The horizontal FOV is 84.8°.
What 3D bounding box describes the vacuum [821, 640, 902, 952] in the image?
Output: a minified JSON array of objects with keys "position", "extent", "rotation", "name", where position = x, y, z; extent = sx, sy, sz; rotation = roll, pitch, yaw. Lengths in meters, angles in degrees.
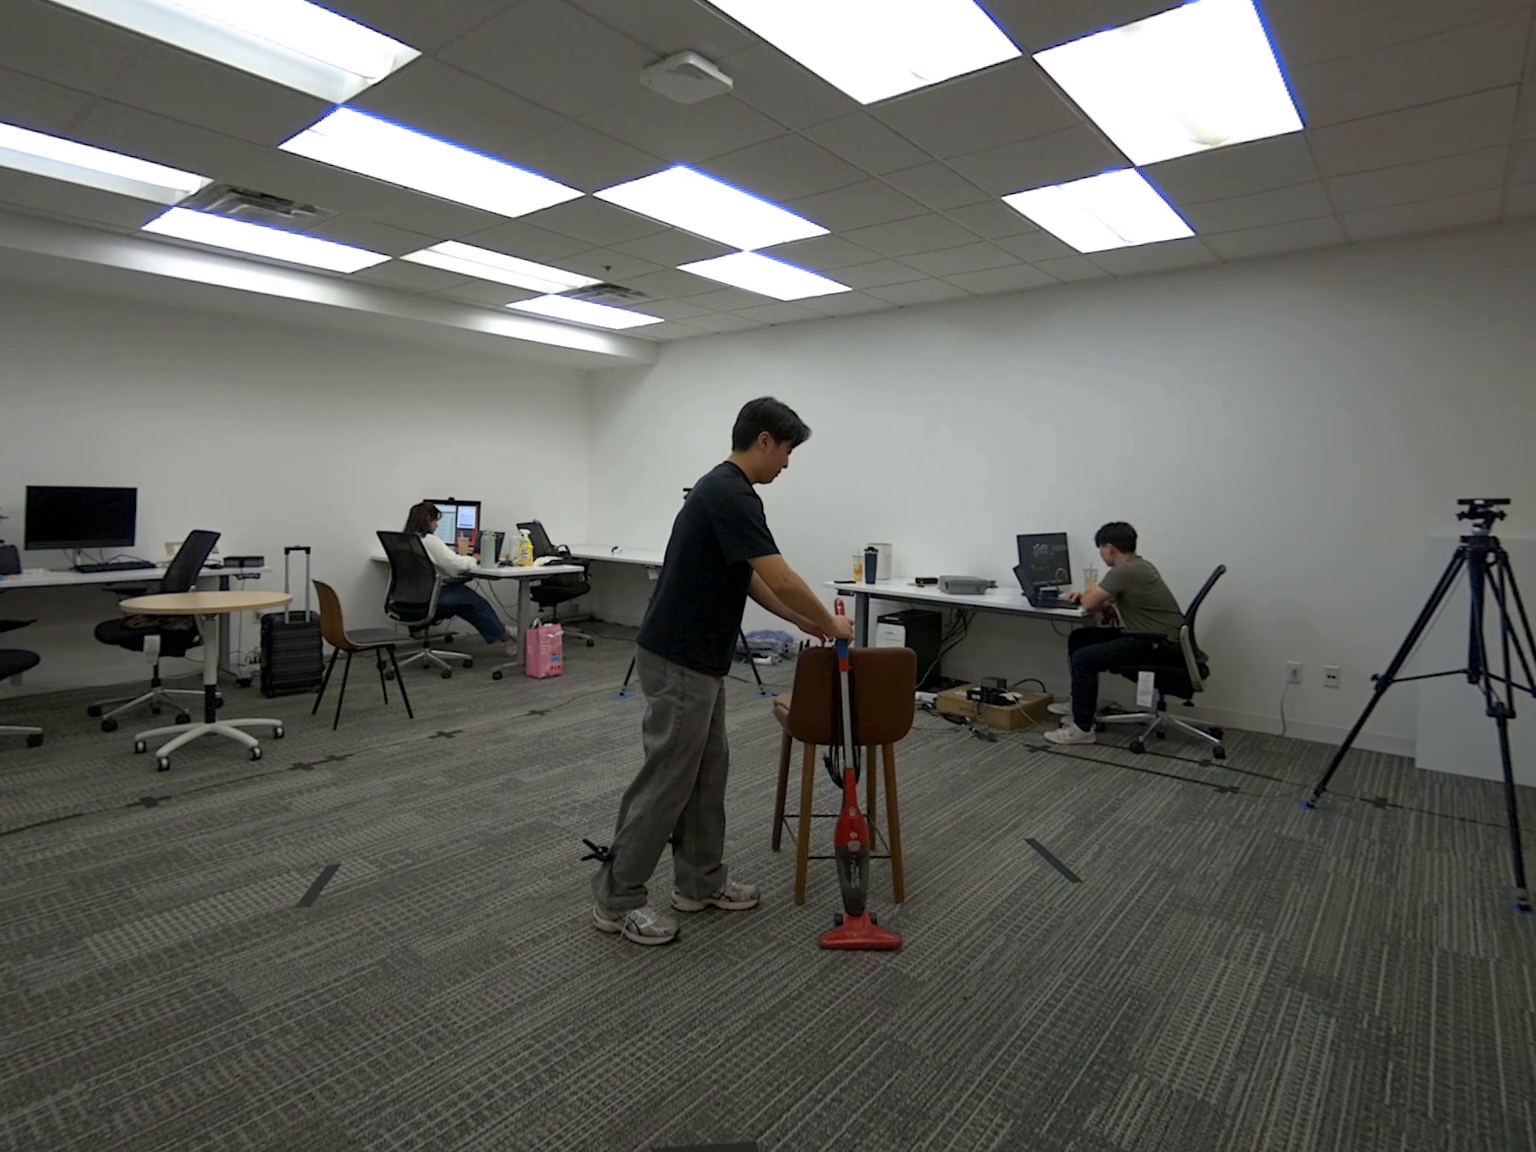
[{"position":[0.252,0.598,2.703],"extent":[0.251,1.058,0.143],"rotation":[-2,-8,-4],"name":"vacuum"}]
